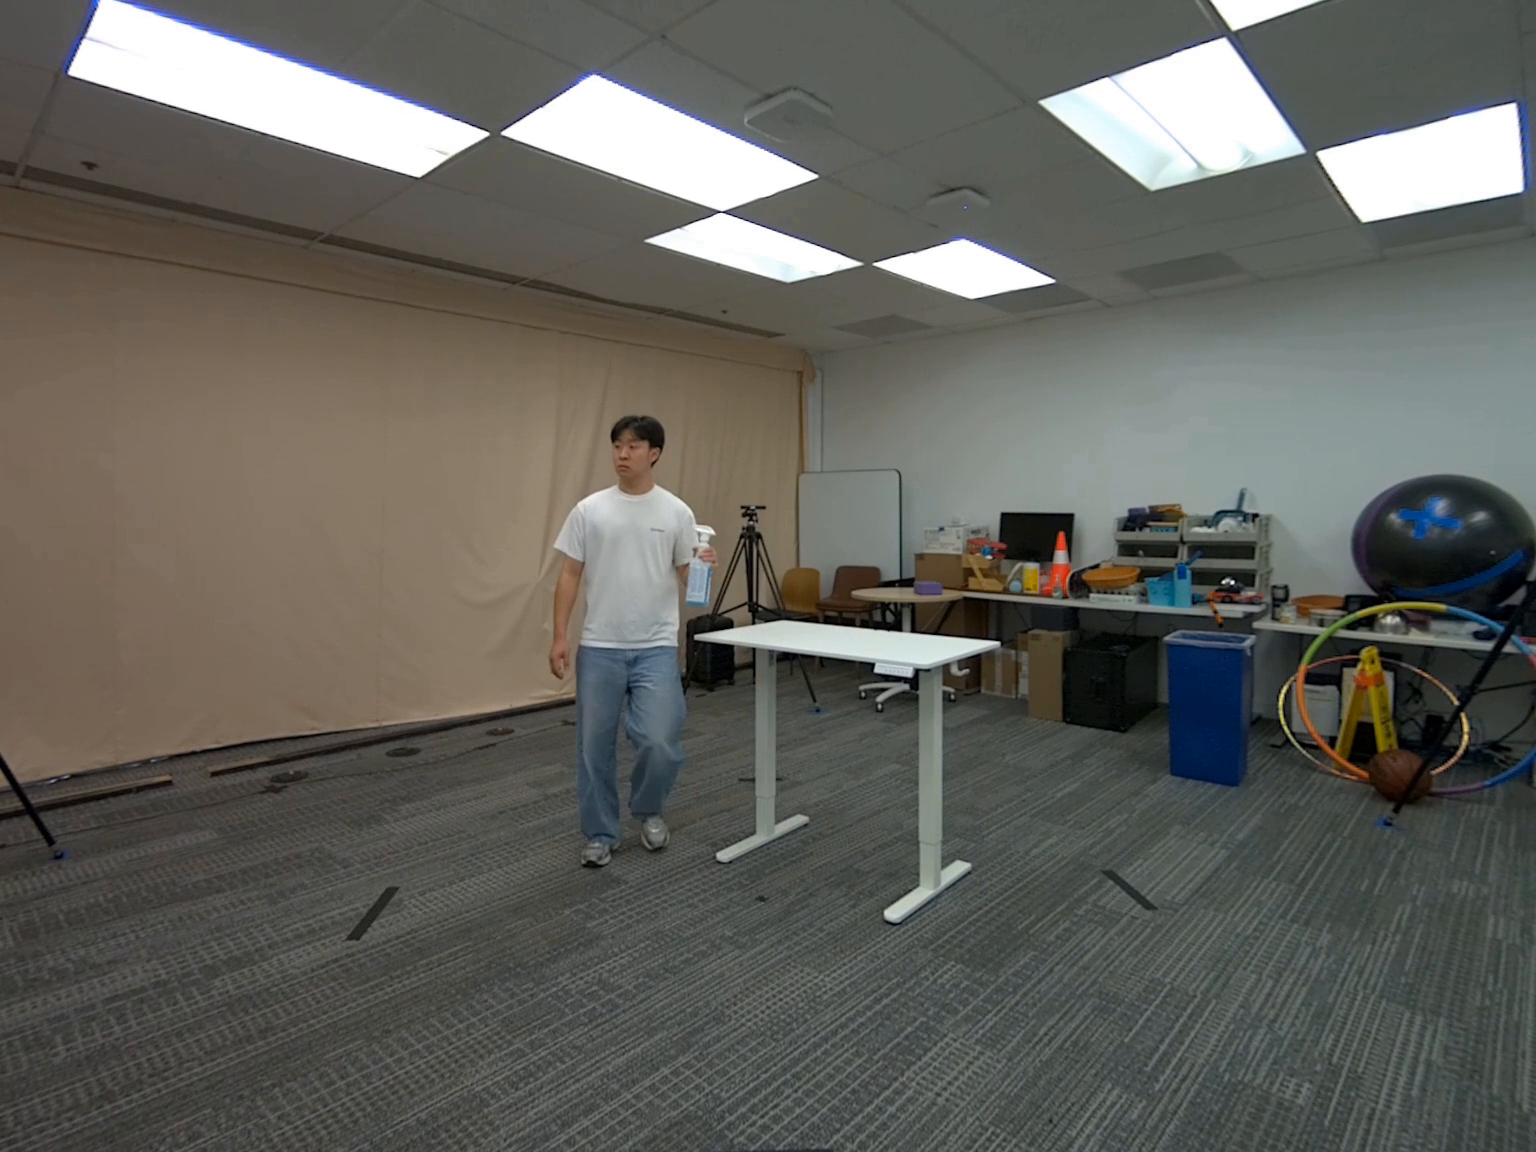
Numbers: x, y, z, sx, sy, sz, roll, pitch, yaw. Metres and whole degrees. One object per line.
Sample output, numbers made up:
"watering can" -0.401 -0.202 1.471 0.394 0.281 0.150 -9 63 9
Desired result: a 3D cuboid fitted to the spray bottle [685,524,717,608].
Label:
"spray bottle" -0.245 -0.033 3.099 0.093 0.298 0.084 3 -3 41
